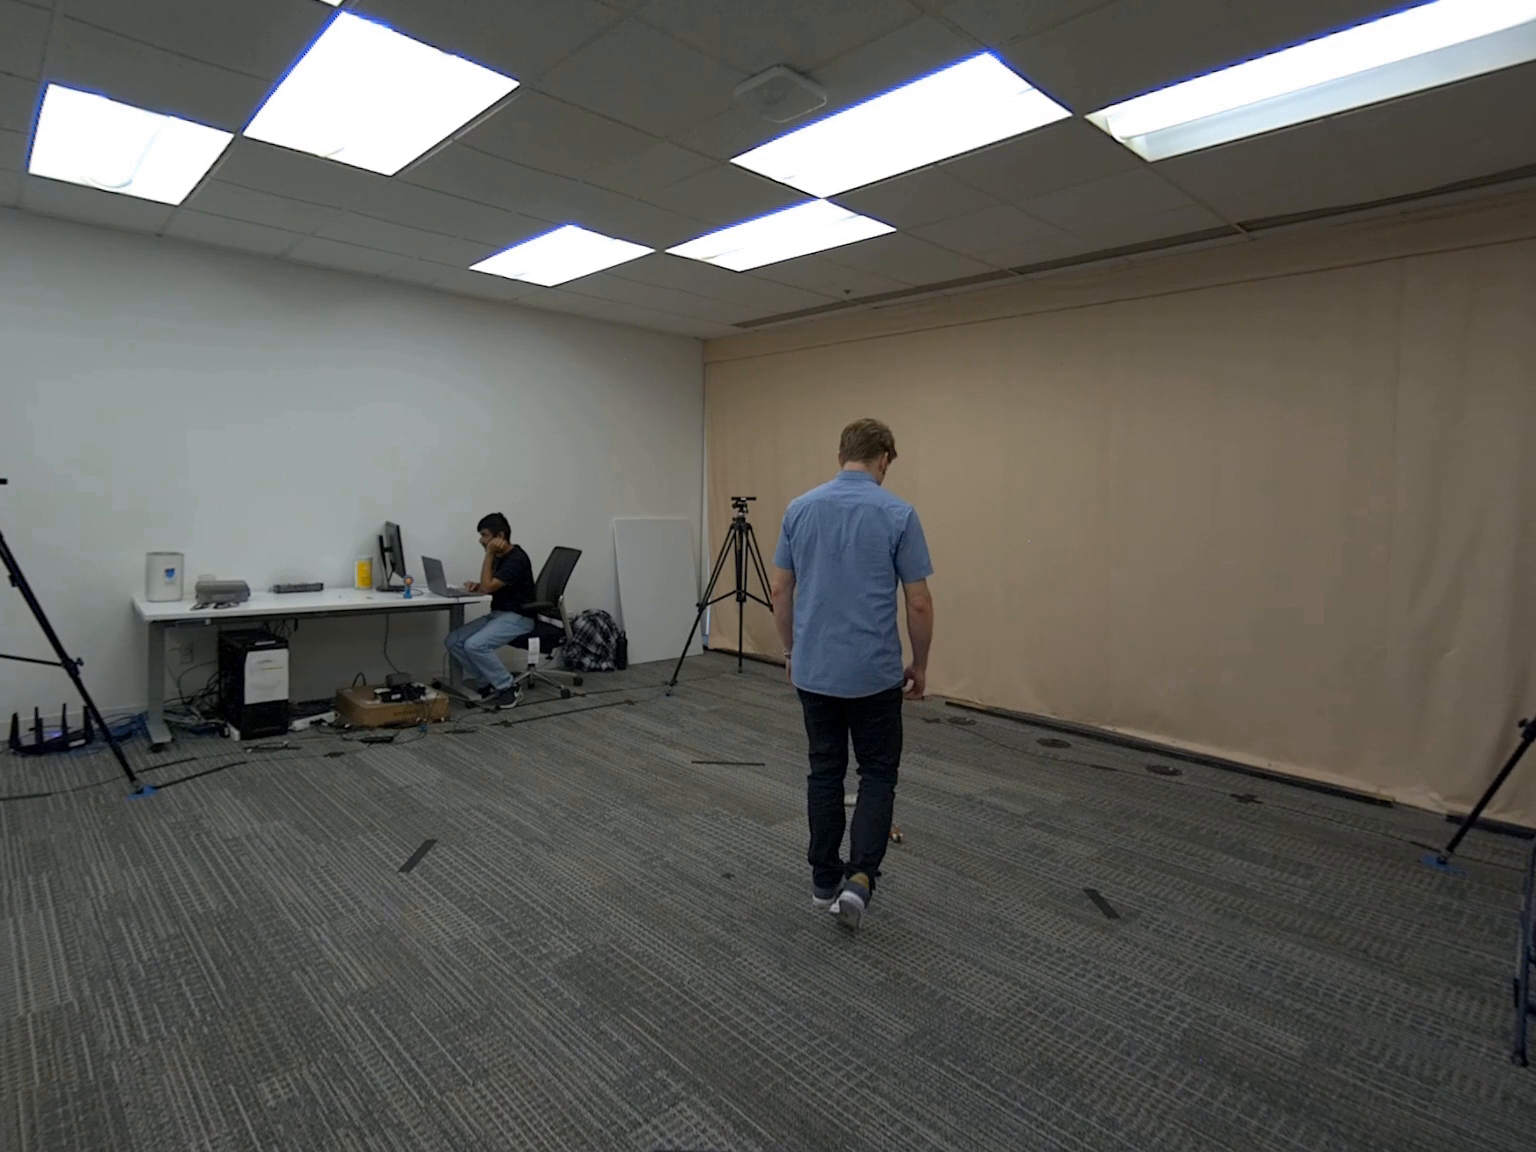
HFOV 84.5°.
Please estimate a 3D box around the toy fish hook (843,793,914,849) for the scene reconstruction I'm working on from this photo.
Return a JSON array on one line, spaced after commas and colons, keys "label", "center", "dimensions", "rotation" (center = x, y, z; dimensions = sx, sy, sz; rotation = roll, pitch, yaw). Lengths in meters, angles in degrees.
[{"label": "toy fish hook", "center": [0.412, 1.060, 3.671], "dimensions": [0.222, 0.048, 0.514], "rotation": [-8, 6, -15]}]
